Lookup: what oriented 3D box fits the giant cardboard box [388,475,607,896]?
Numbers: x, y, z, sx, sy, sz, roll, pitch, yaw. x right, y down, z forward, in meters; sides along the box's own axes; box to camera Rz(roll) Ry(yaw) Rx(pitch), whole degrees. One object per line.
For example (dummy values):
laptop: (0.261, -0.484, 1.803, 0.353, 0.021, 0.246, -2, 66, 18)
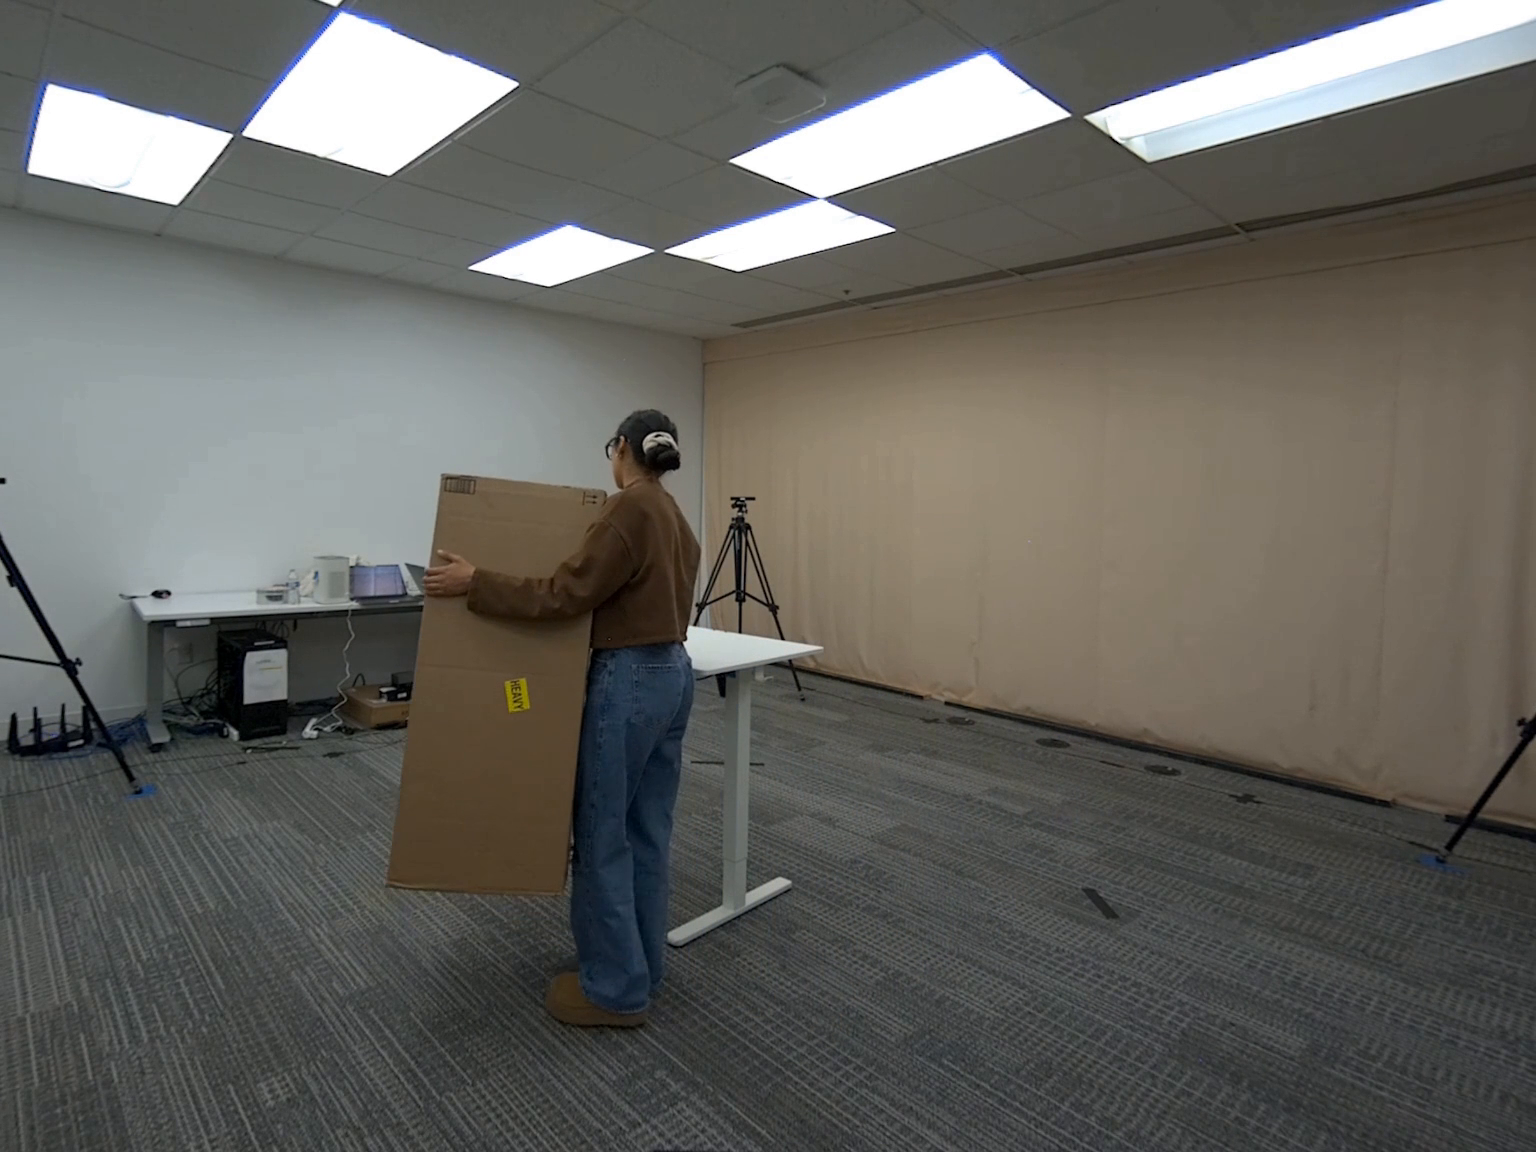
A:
giant cardboard box: (-0.728, 0.296, 2.388, 0.423, 1.031, 0.579, 6, -7, -10)
